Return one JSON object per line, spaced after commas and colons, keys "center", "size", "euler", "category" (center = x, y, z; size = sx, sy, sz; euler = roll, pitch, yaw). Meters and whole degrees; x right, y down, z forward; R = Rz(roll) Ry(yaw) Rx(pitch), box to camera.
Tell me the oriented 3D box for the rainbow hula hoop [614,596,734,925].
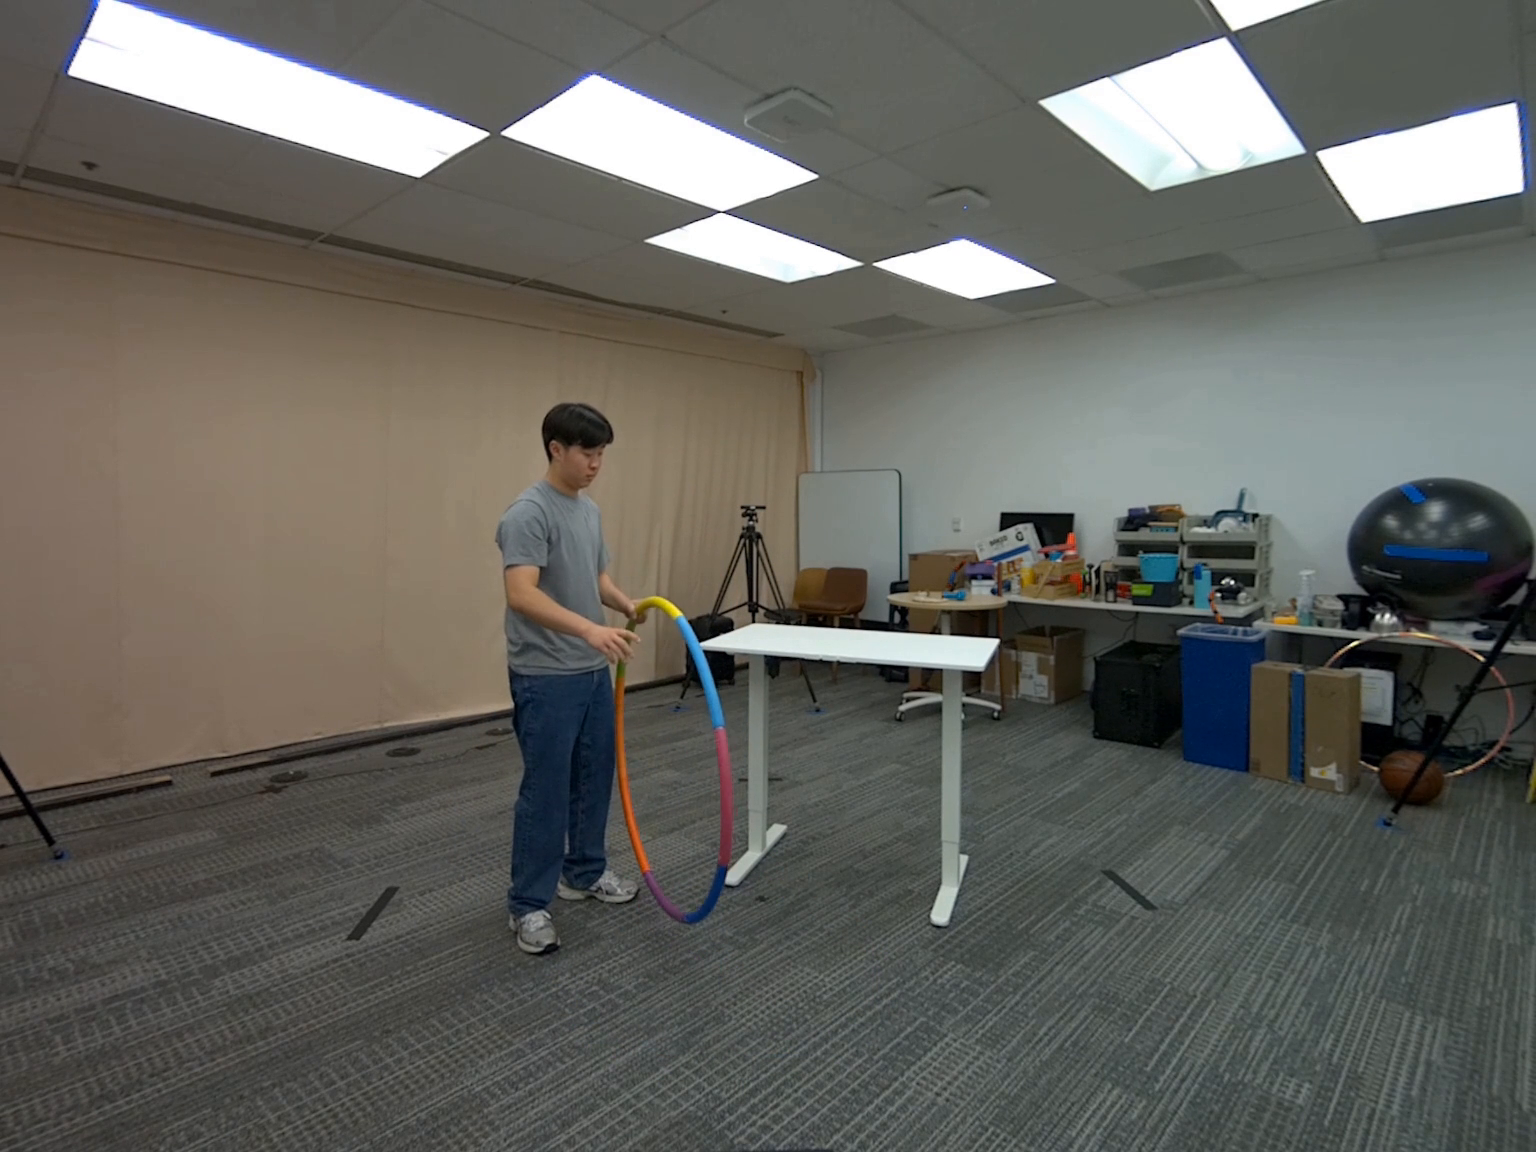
{"center": [-0.326, 0.568, 2.646], "size": [0.035, 0.976, 1.005], "euler": [-1, 4, -27], "category": "rainbow hula hoop"}
